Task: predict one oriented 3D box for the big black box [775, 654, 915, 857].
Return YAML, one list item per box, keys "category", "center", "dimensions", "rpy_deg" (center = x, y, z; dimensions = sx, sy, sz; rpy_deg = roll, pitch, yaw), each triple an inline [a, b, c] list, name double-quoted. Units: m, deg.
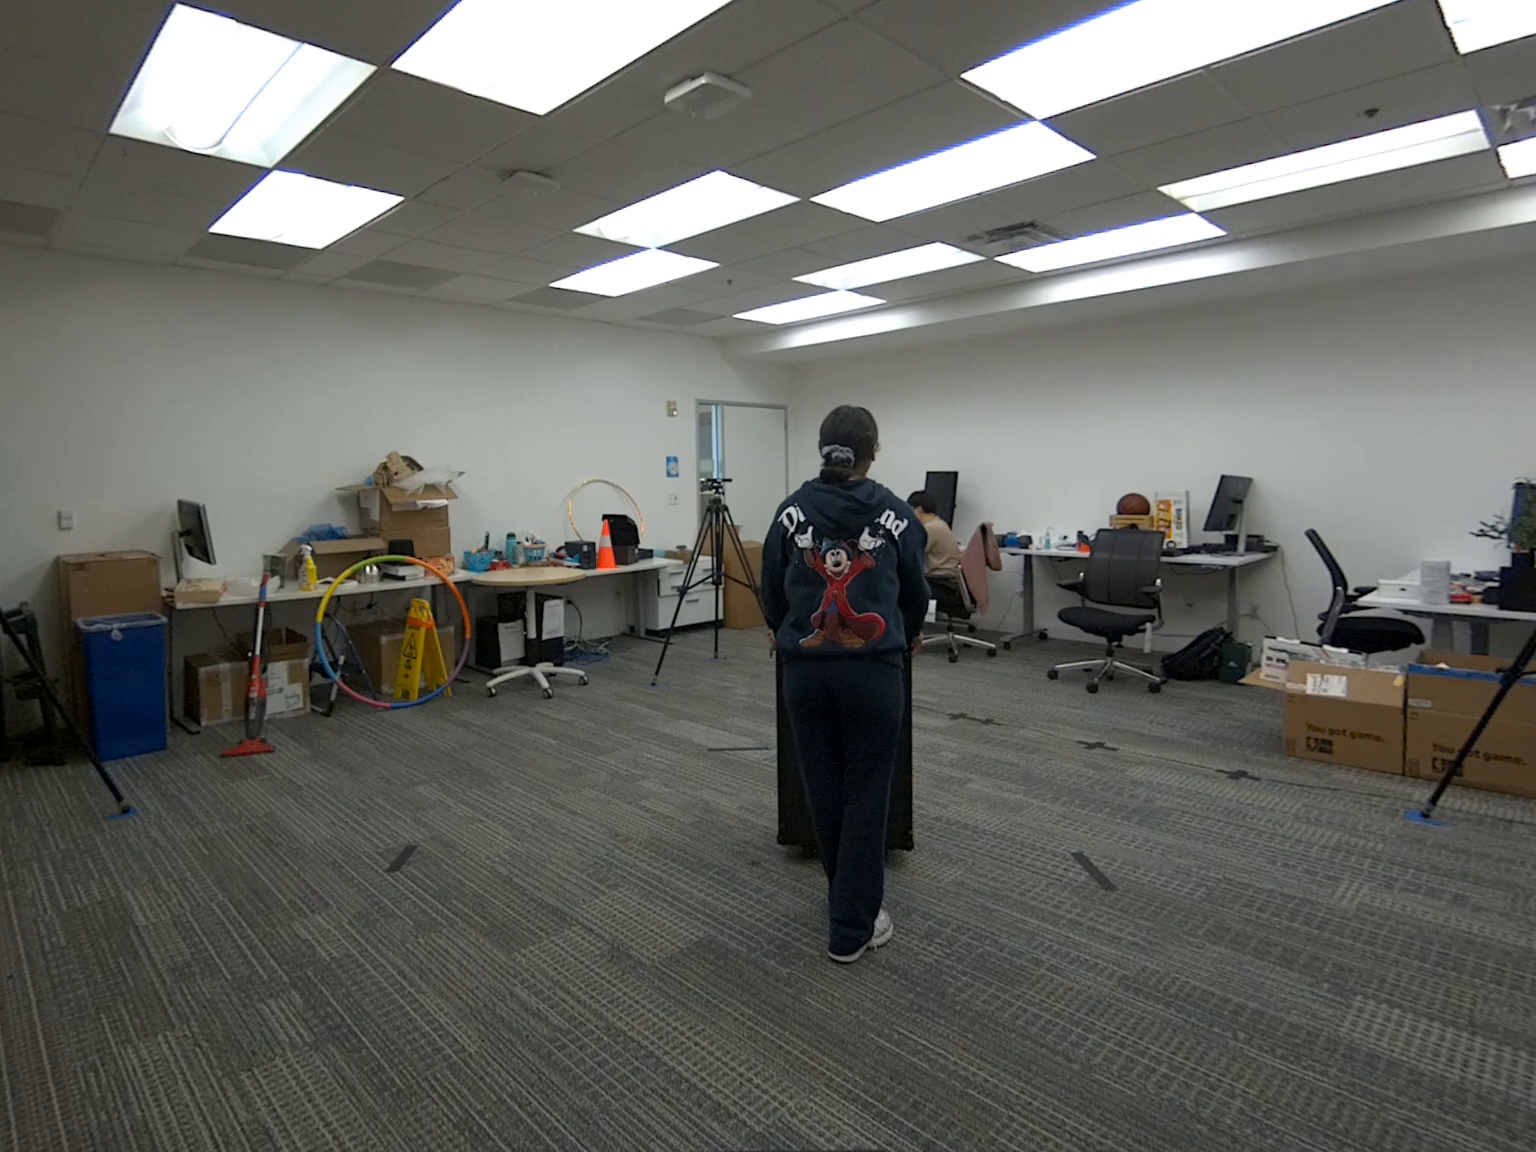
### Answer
- category: "big black box"
  center: [0.293, 0.604, 3.197]
  dimensions: [0.526, 0.857, 0.395]
  rpy_deg: [0, 5, 8]
